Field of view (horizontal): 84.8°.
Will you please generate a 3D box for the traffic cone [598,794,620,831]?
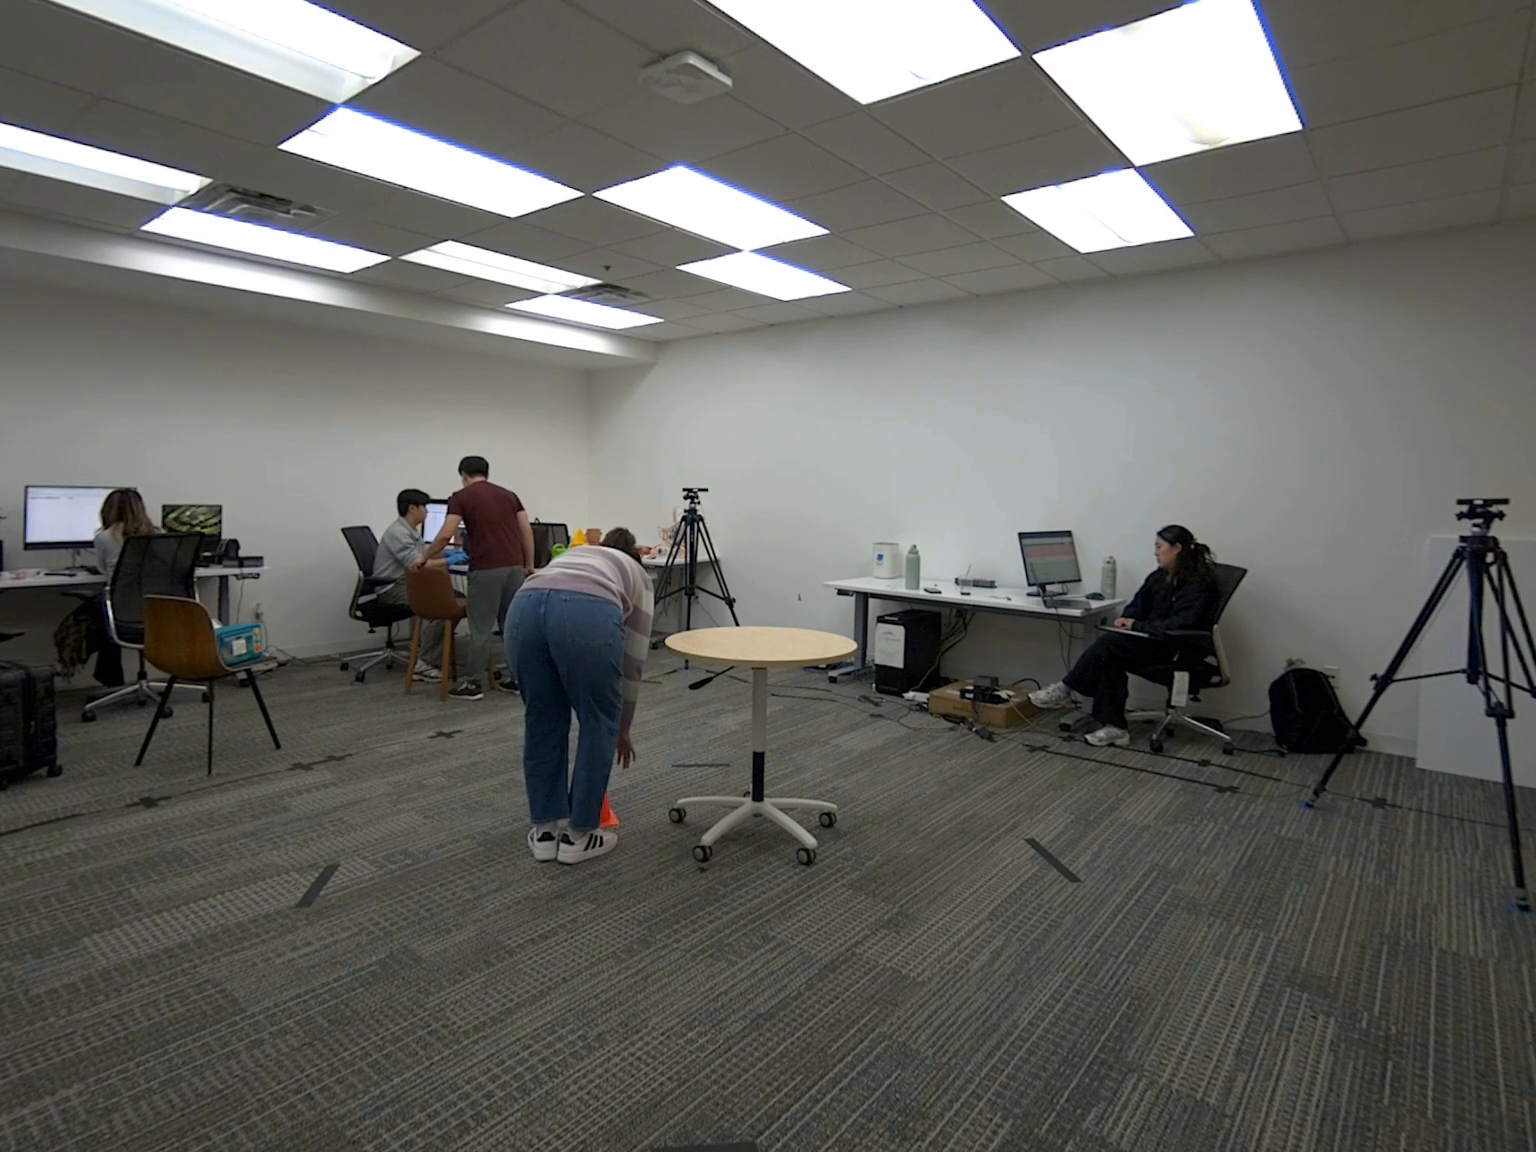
[{"bbox_3d":[-0.746,0.831,3.556,0.198,0.382,0.211,0,5,-26],"label":"traffic cone"}]
